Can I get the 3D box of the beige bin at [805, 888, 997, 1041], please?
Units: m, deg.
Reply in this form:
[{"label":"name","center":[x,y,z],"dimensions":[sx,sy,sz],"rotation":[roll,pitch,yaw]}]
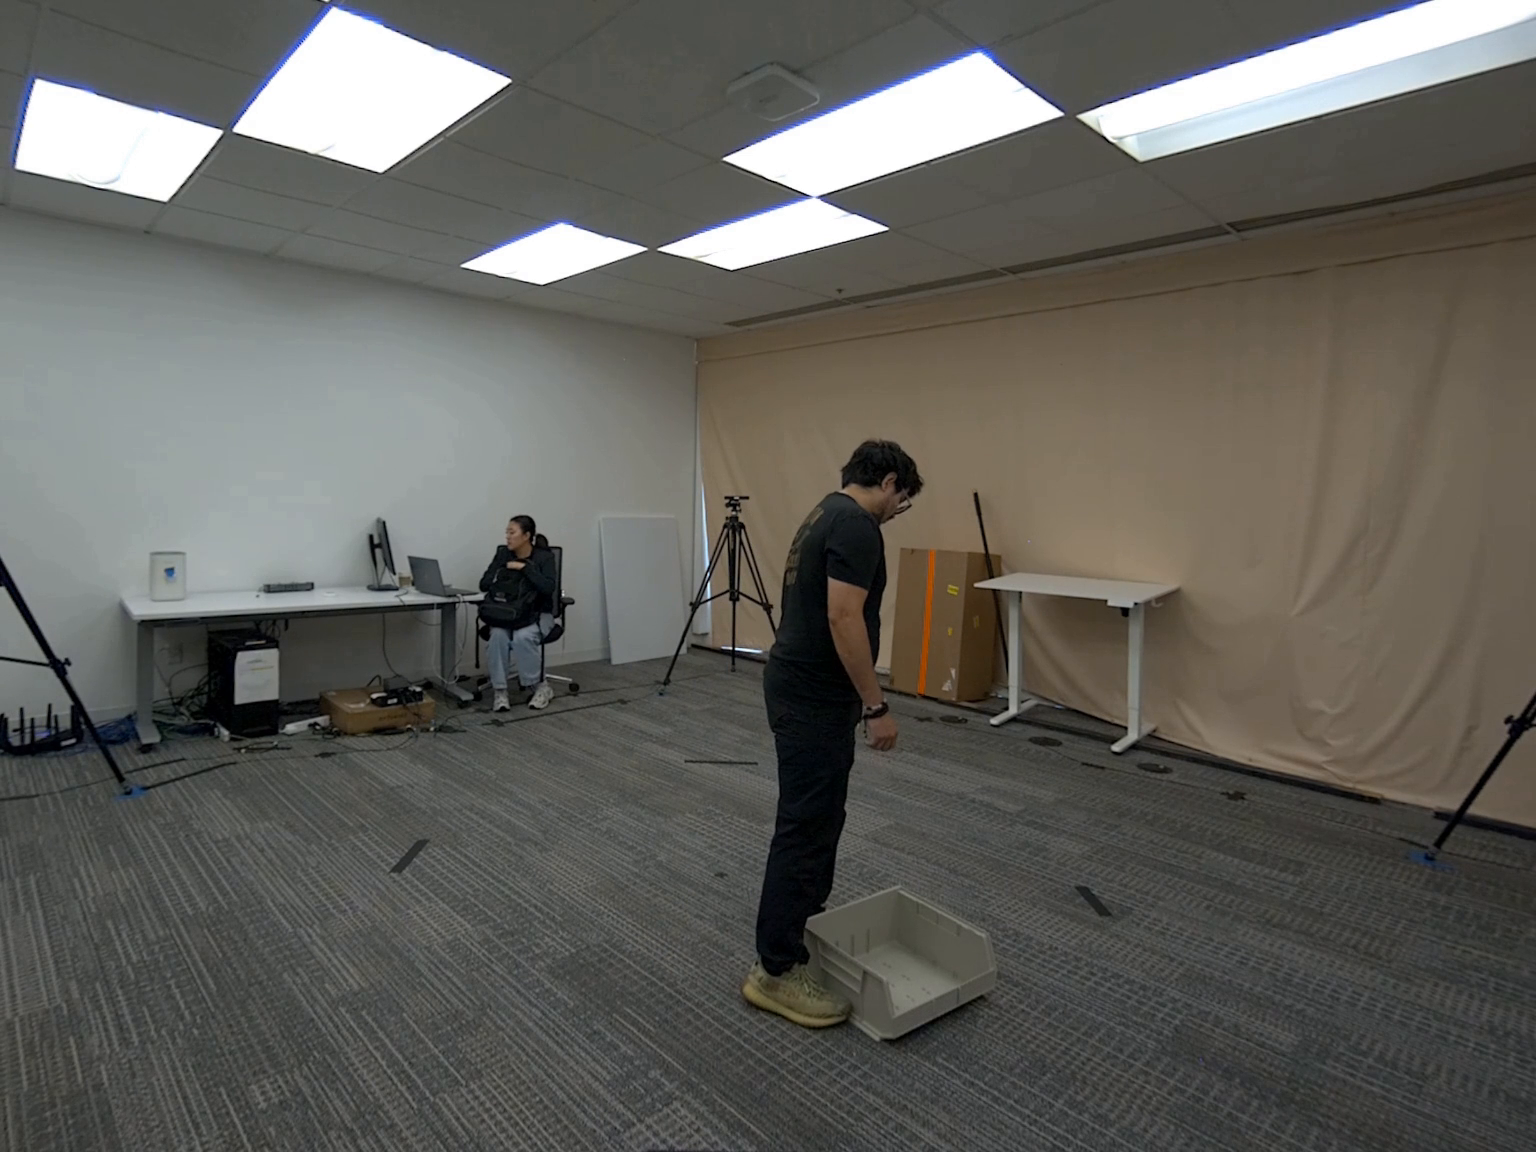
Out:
[{"label":"beige bin","center":[0.361,1.094,2.388],"dimensions":[0.413,0.188,0.387],"rotation":[-3,6,-37]}]
